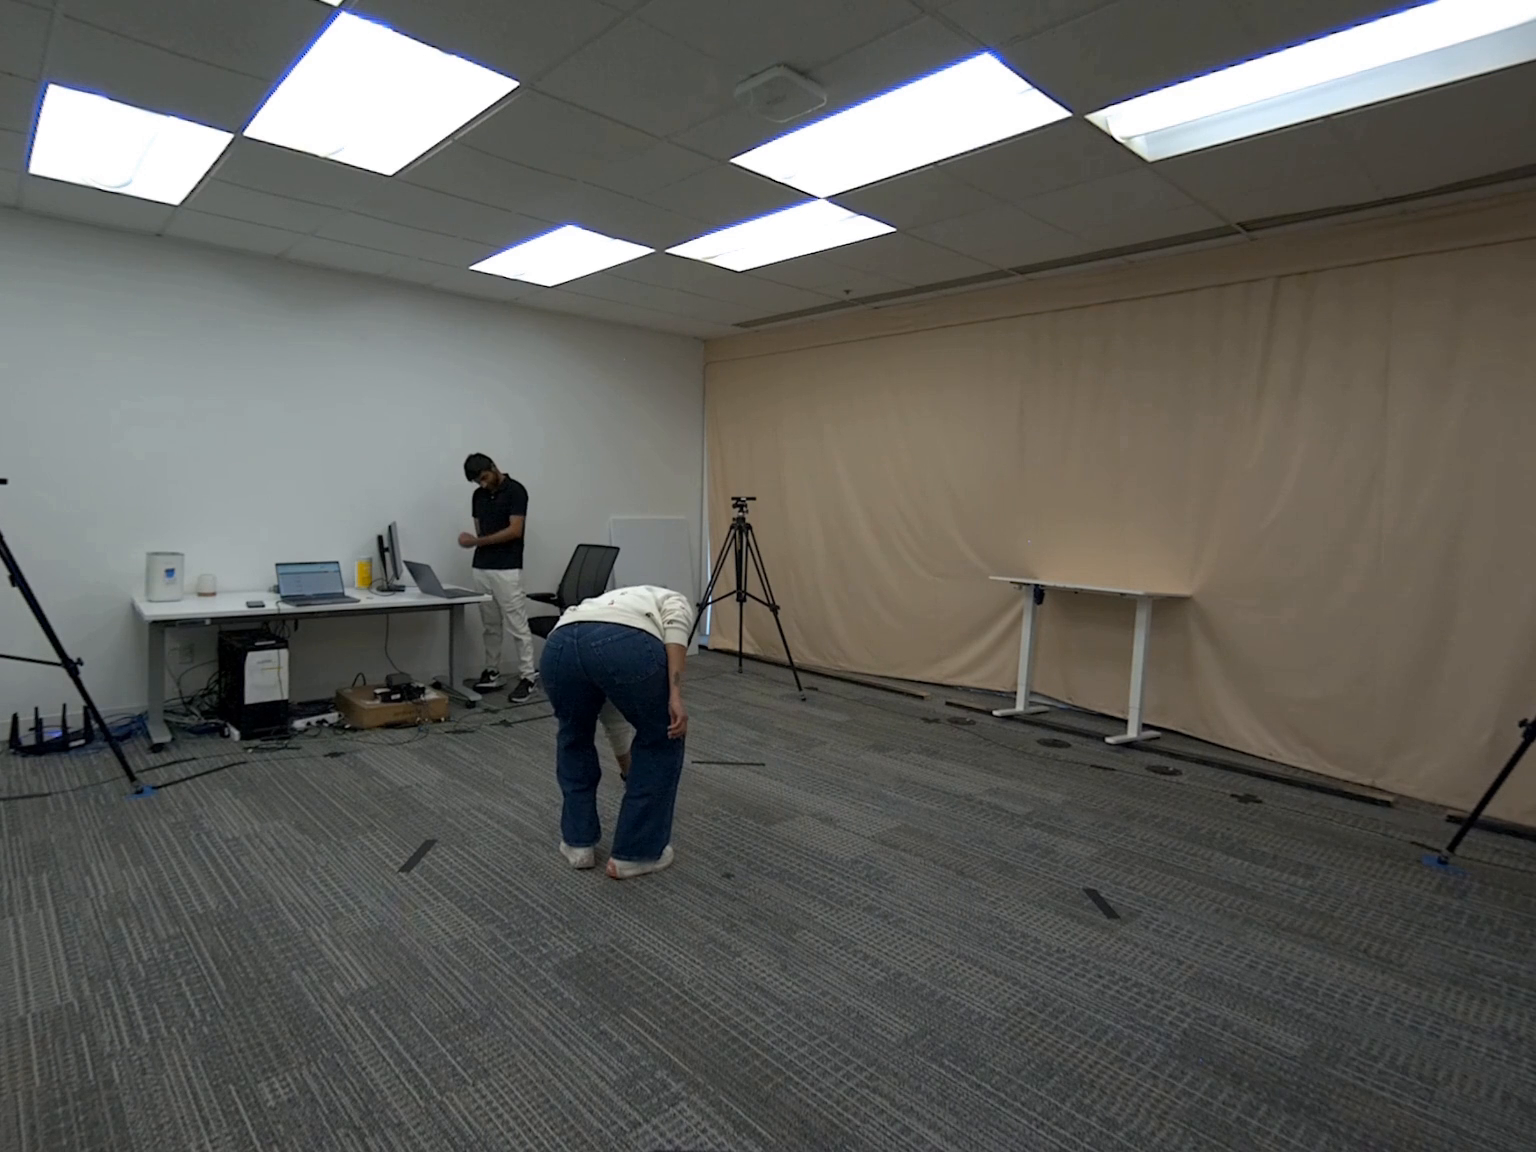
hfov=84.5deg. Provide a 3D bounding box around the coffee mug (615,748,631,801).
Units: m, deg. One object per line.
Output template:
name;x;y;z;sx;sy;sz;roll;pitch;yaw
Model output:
coffee mug;-0.578;0.855;3.629;0.125;0.203;0.086;3;2;39
